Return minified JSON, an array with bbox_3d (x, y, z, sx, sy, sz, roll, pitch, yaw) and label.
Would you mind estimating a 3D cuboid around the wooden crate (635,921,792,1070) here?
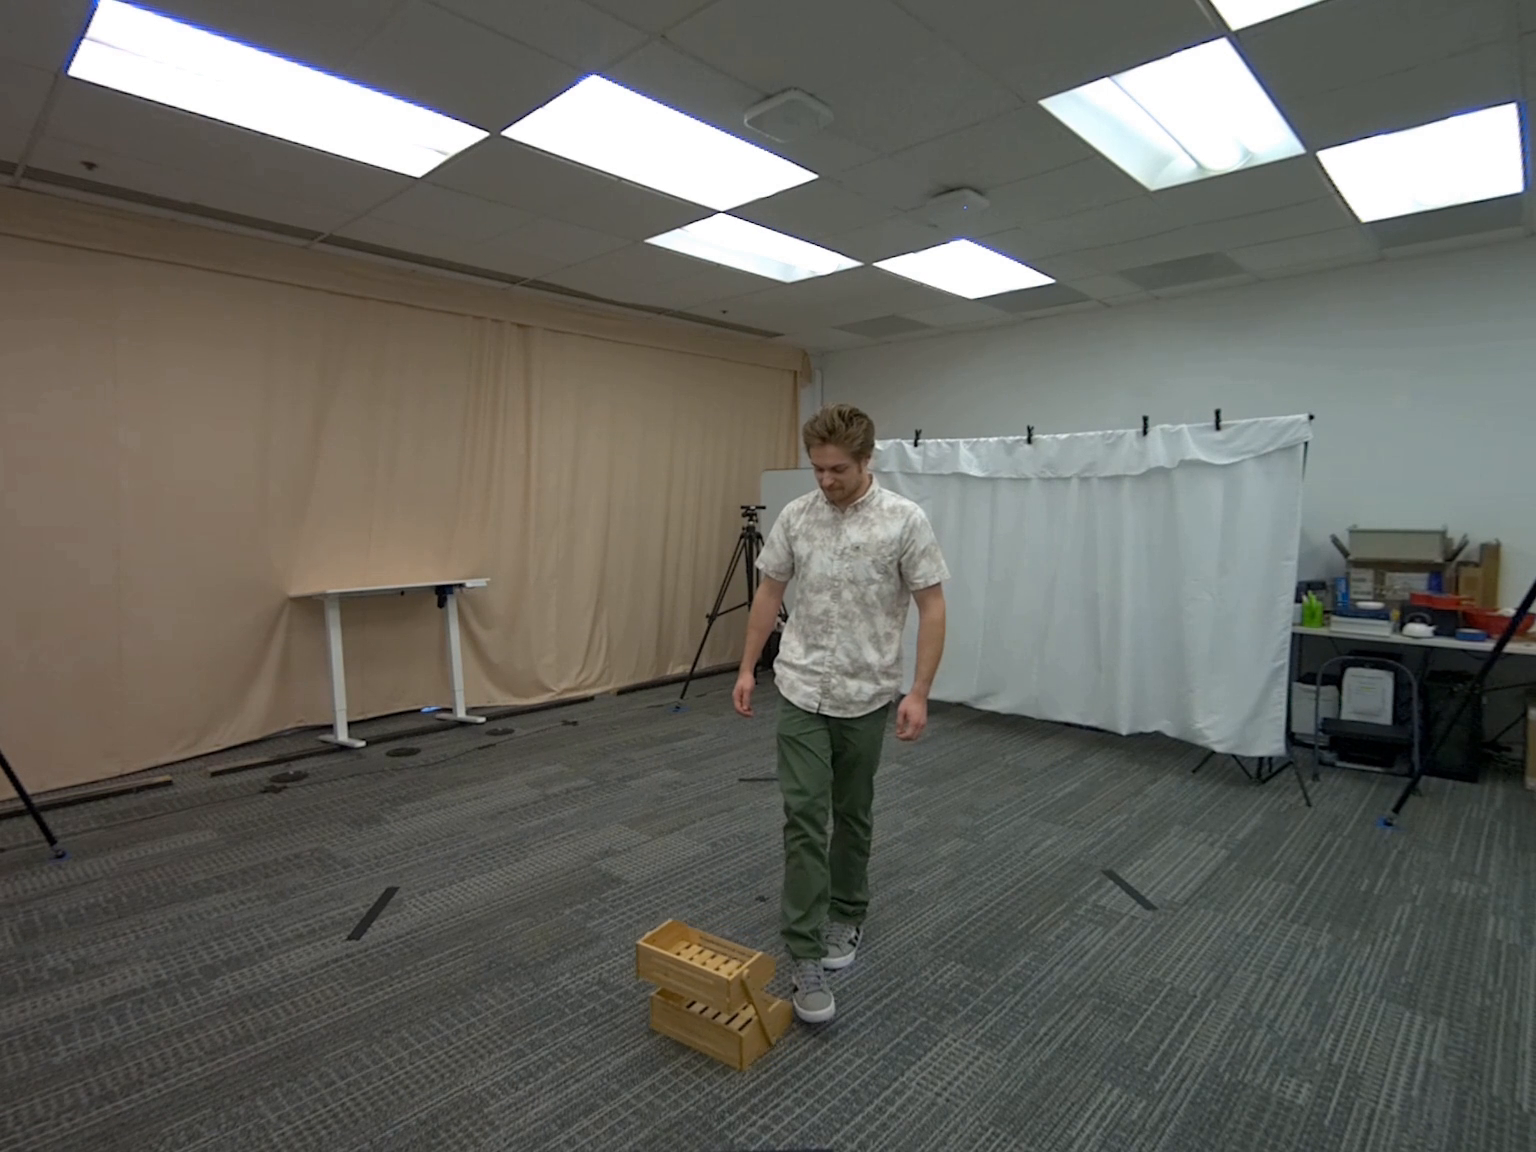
[{"bbox_3d":[-0.134,1.075,2.226,0.334,0.272,0.294,2,5,33],"label":"wooden crate"}]
